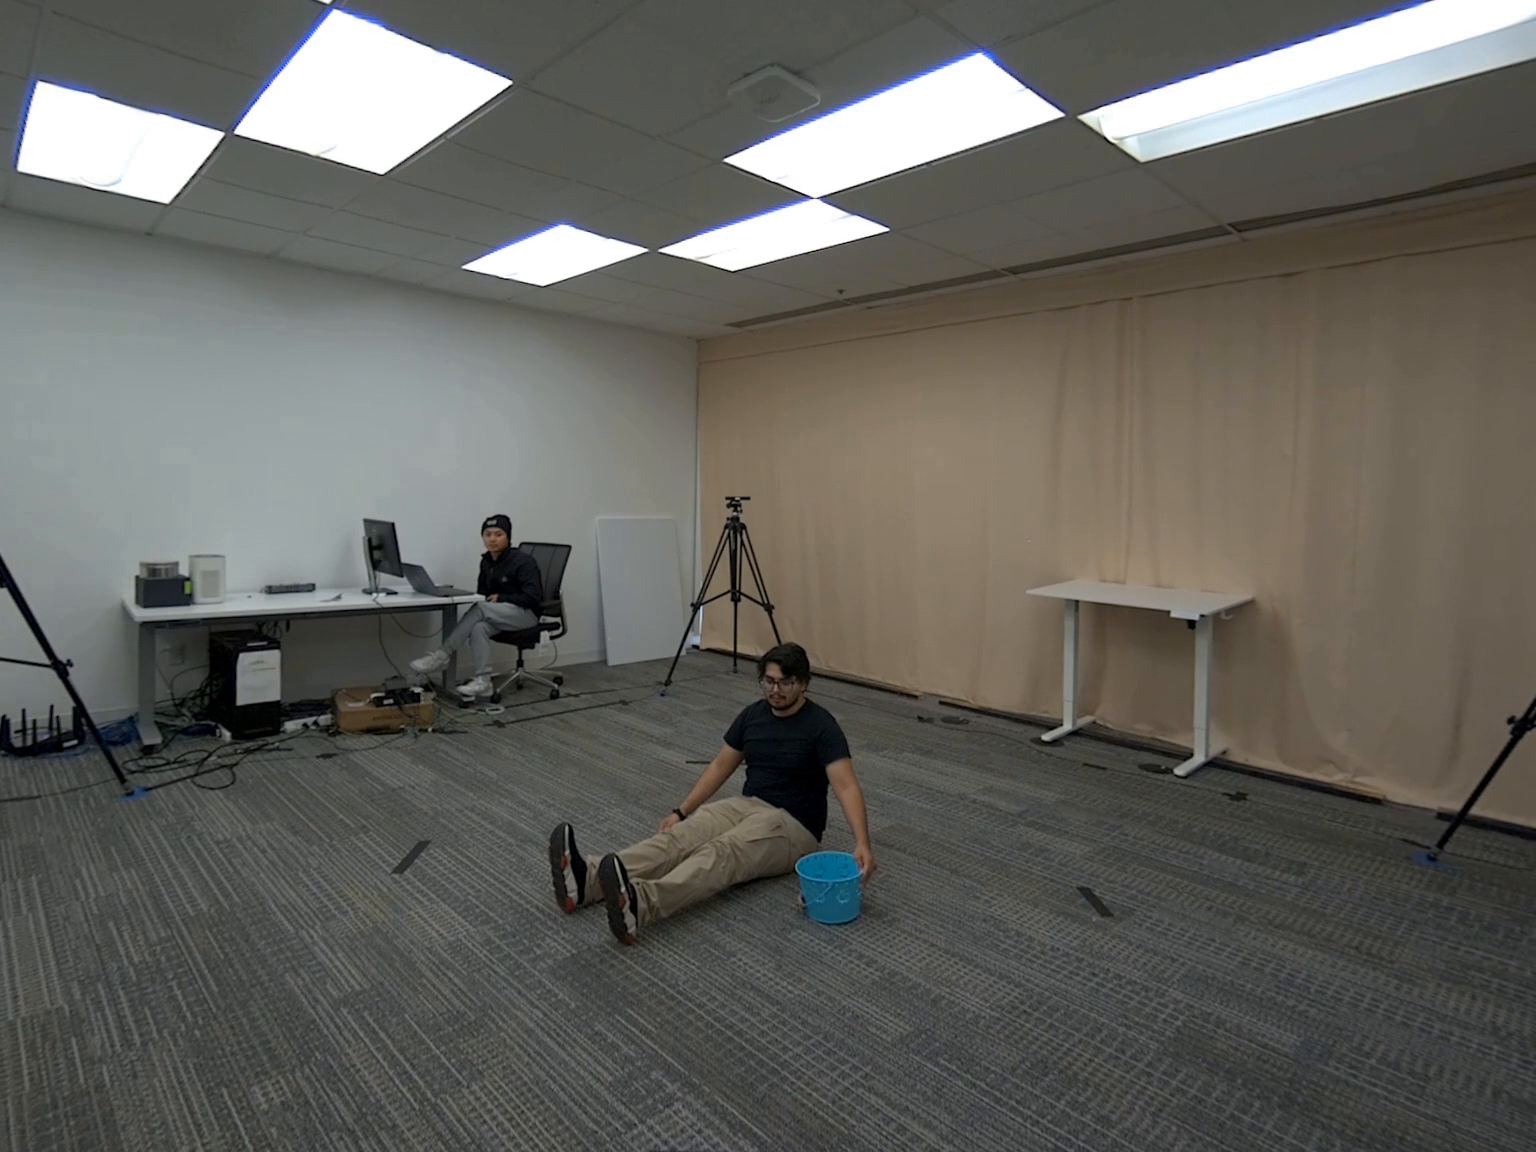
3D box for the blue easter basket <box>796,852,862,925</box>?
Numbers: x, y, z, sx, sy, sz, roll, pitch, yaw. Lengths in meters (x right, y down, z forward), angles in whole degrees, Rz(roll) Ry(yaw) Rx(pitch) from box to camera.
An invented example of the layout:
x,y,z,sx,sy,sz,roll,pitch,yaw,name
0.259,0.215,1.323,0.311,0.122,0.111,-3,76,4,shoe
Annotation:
x,y,z,sx,sy,sz,roll,pitch,yaw,name
0.198,1.052,2.843,0.243,0.155,0.244,-2,5,-1,blue easter basket
